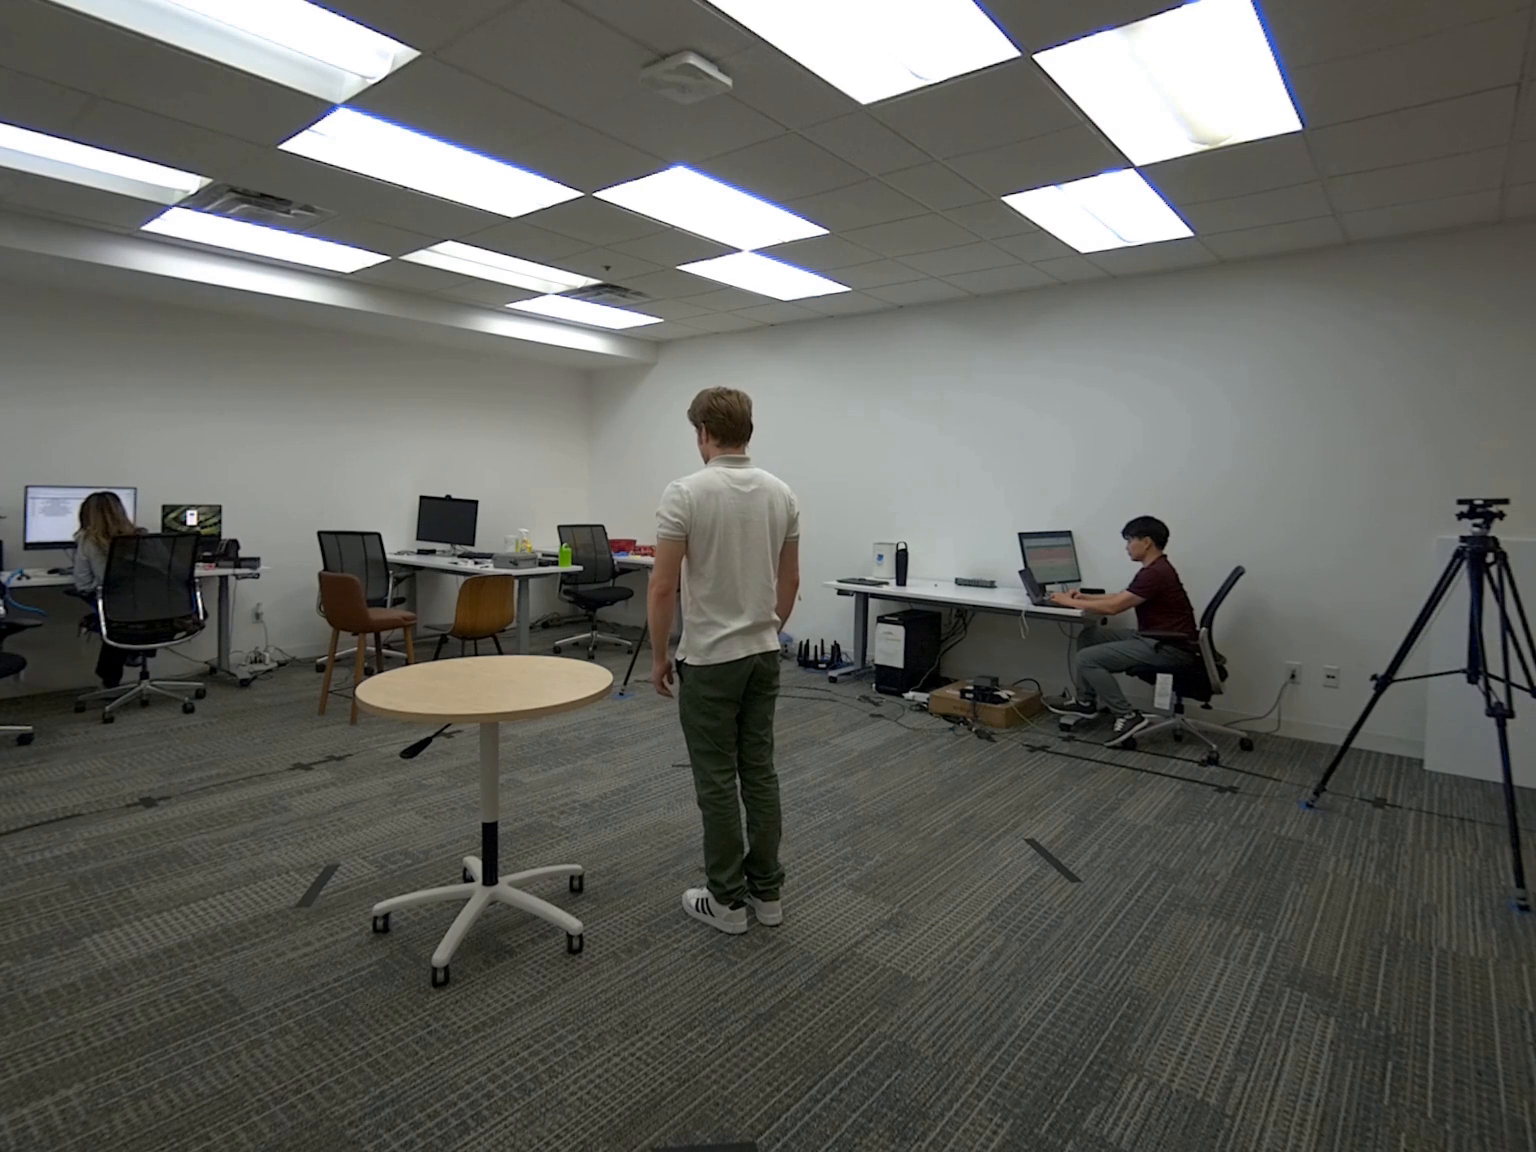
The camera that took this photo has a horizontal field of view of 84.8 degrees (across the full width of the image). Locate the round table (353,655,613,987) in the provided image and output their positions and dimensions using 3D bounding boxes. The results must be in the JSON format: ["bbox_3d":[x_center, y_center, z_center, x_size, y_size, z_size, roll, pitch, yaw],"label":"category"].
[{"bbox_3d":[-0.878,0.717,2.658,0.763,0.791,0.768,0,5,-2],"label":"round table"}]
